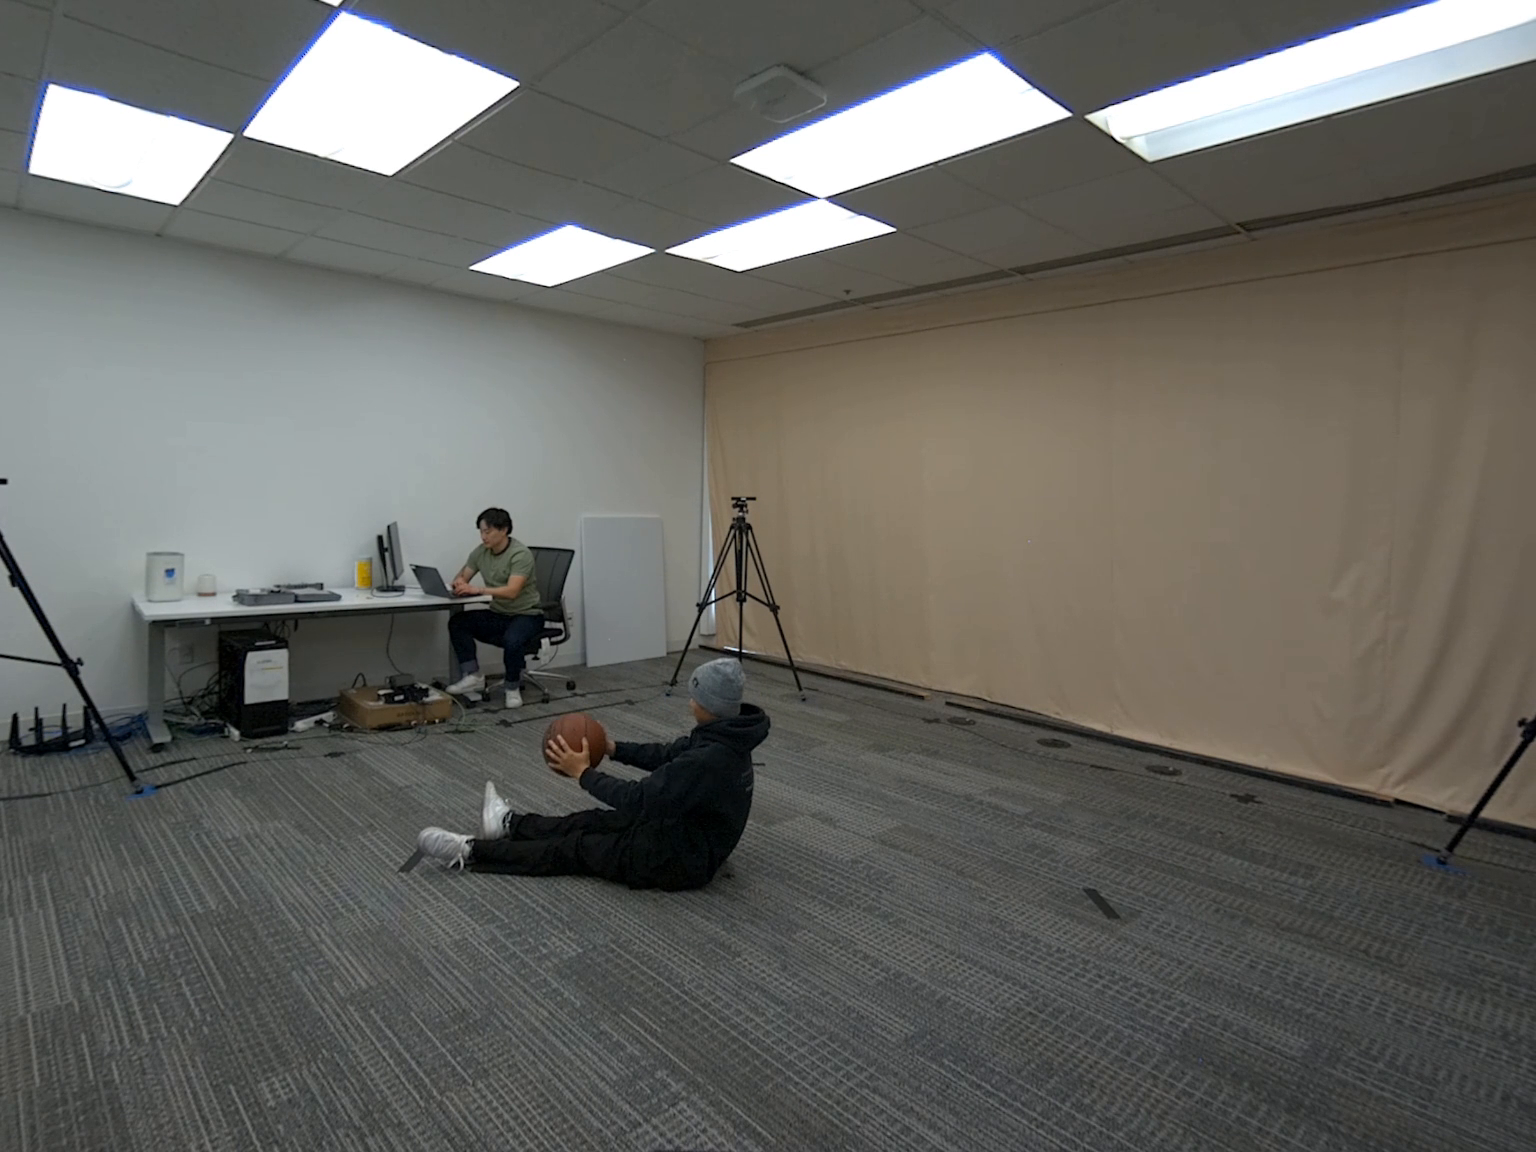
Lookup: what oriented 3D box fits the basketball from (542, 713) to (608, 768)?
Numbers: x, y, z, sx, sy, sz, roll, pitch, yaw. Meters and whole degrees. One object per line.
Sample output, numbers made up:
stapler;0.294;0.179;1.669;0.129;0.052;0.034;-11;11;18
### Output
basketball;-0.728;0.633;3.181;0.236;0.235;0.237;1;4;-1
